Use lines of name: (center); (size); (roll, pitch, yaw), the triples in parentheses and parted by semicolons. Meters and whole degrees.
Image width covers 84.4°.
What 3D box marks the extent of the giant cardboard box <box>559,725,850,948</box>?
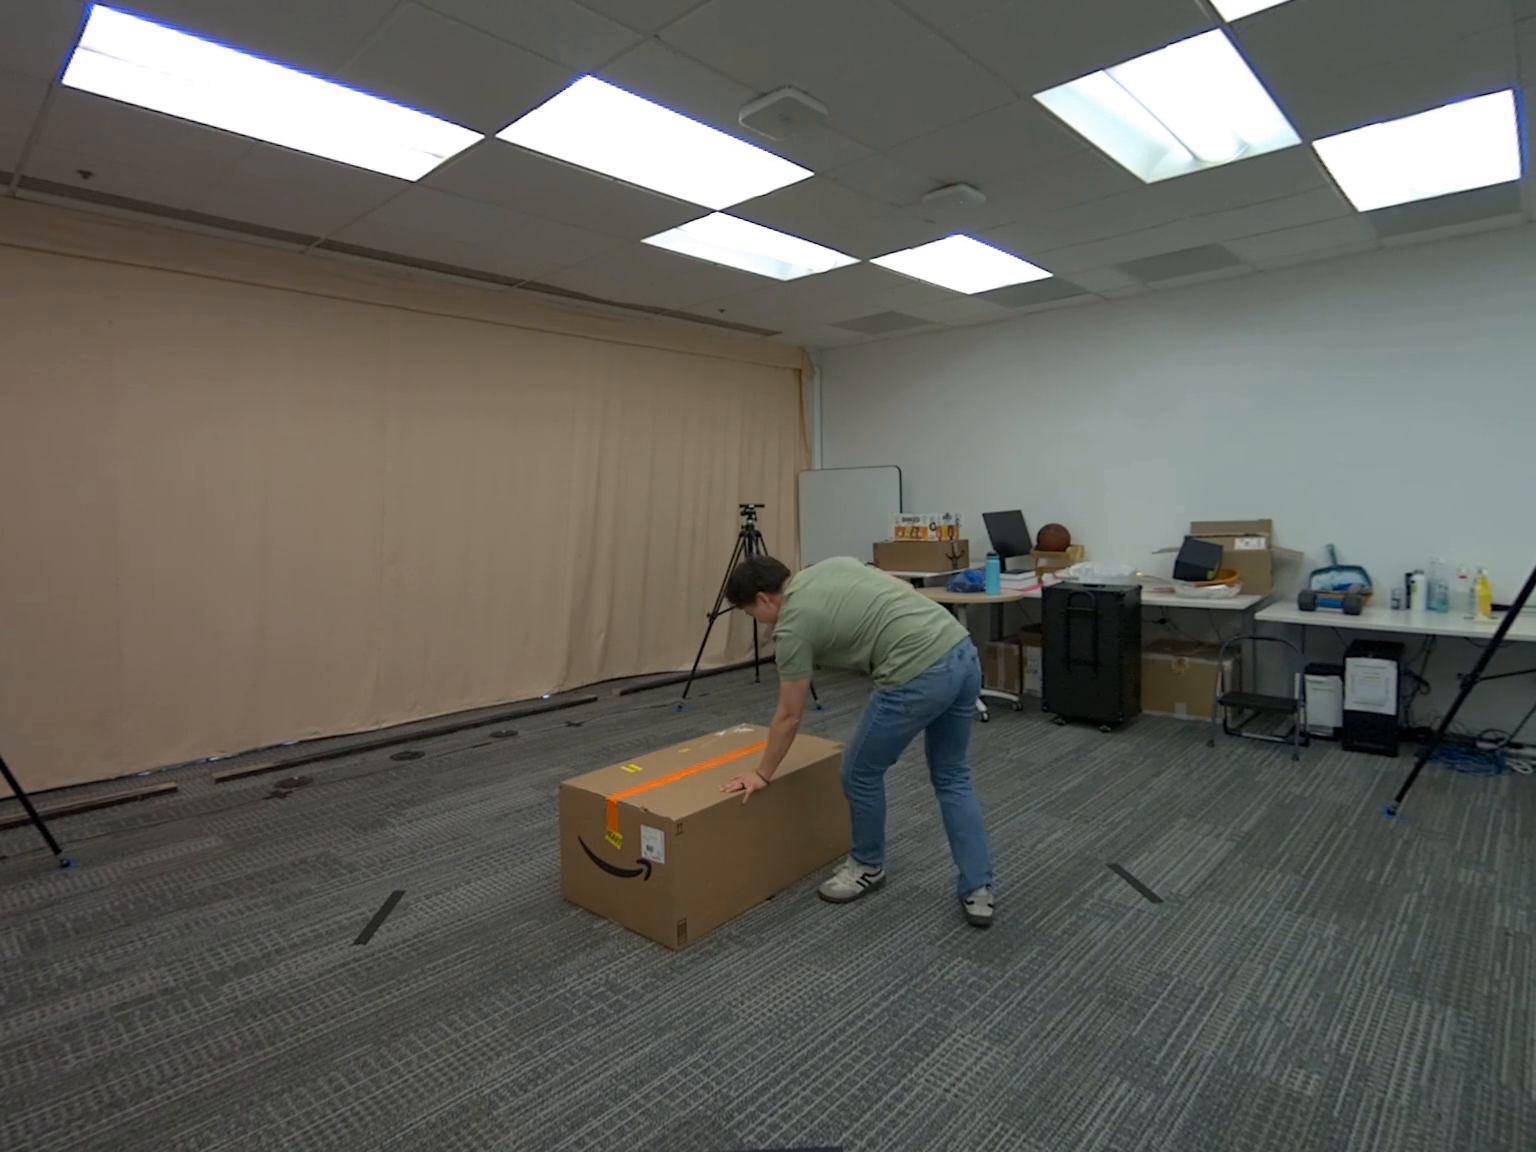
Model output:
giant cardboard box: (-0.195, 0.914, 3.183); (0.596, 0.425, 0.995); (2, 6, 40)
